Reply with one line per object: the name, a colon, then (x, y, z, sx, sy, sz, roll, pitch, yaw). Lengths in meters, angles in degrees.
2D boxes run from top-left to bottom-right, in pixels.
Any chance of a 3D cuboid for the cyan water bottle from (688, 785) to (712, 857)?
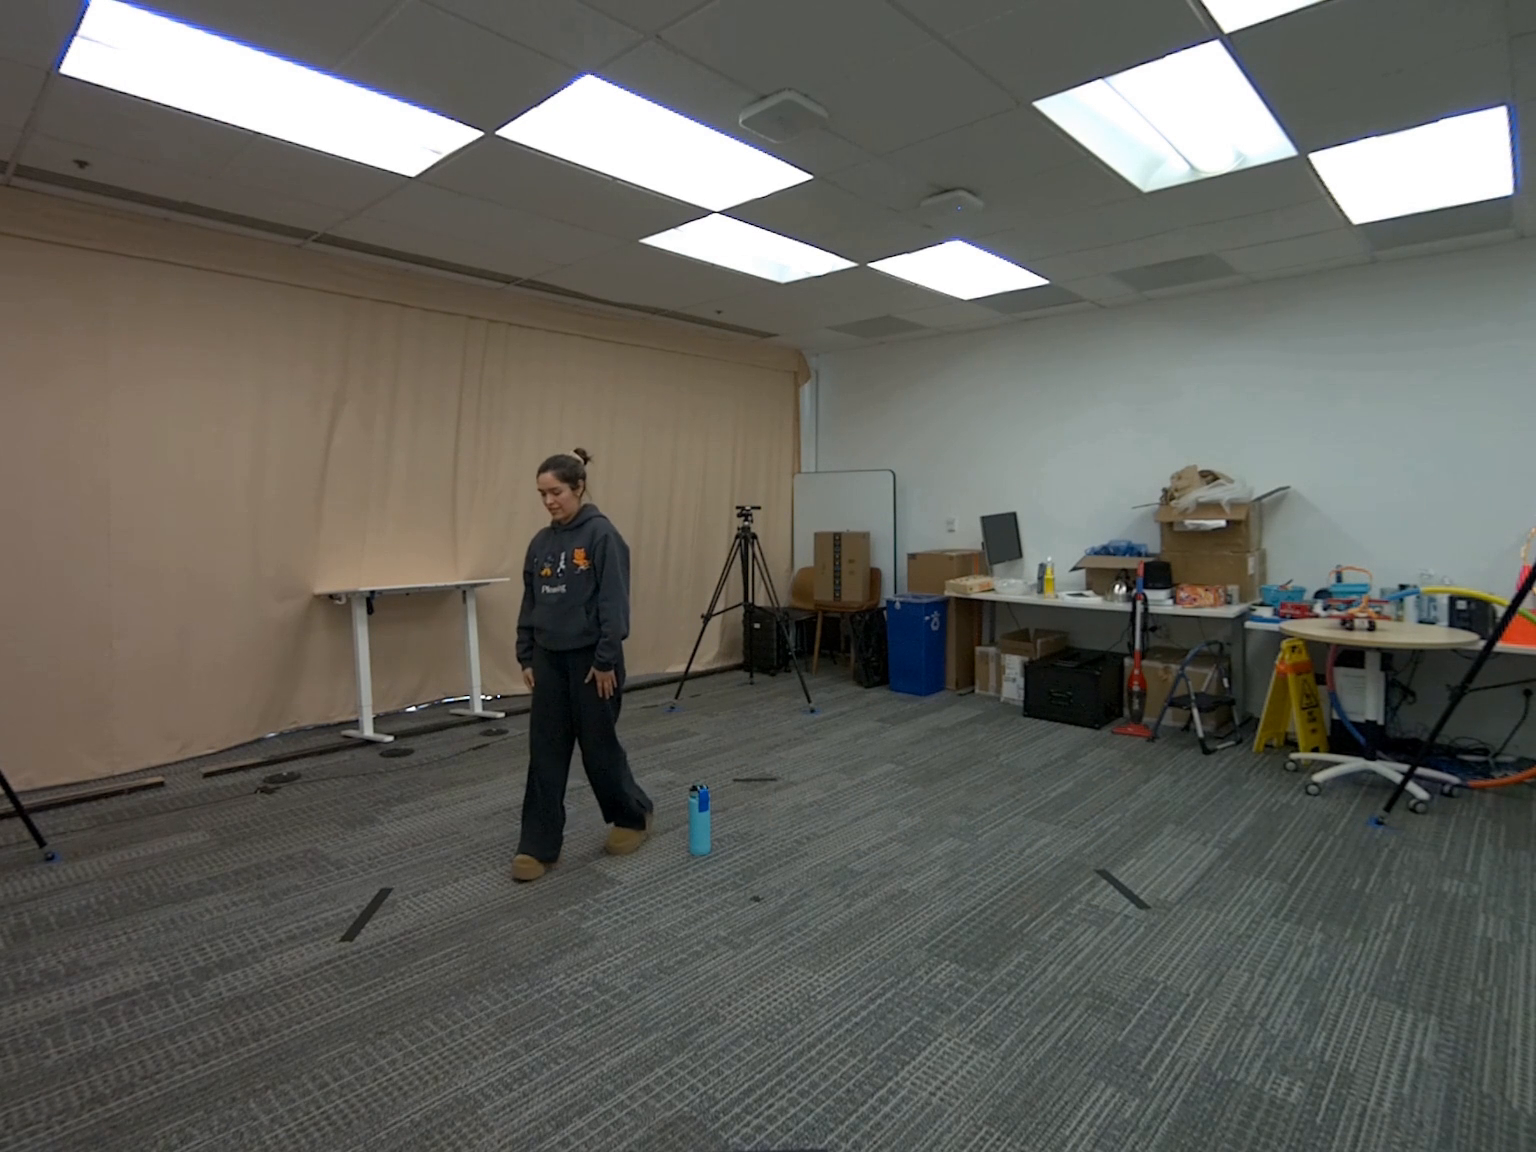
cyan water bottle: (-0.259, 0.972, 3.386, 0.092, 0.282, 0.093, 1, 5, -2)
